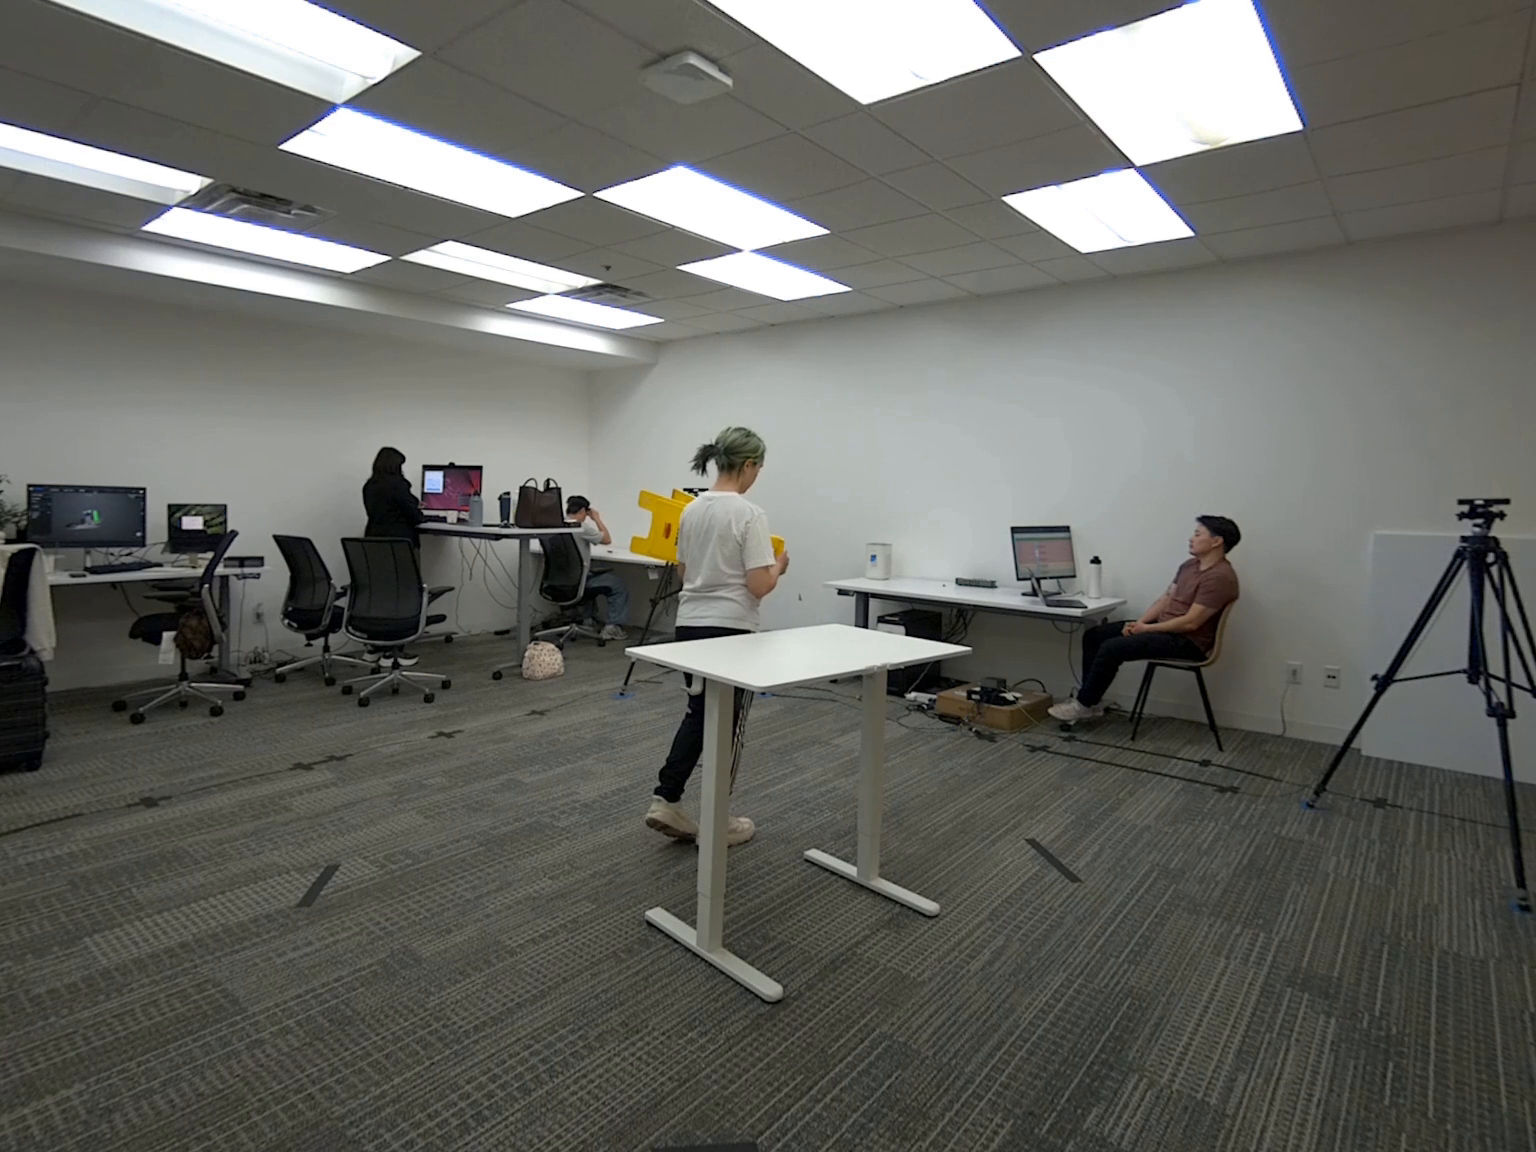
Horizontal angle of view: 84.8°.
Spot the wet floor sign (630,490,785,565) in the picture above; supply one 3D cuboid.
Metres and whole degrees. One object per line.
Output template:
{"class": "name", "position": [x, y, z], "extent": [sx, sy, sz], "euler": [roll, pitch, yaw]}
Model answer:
{"class": "wet floor sign", "position": [-0.245, -0.153, 3.580], "extent": [0.667, 0.279, 0.283], "euler": [19, 15, 27]}
